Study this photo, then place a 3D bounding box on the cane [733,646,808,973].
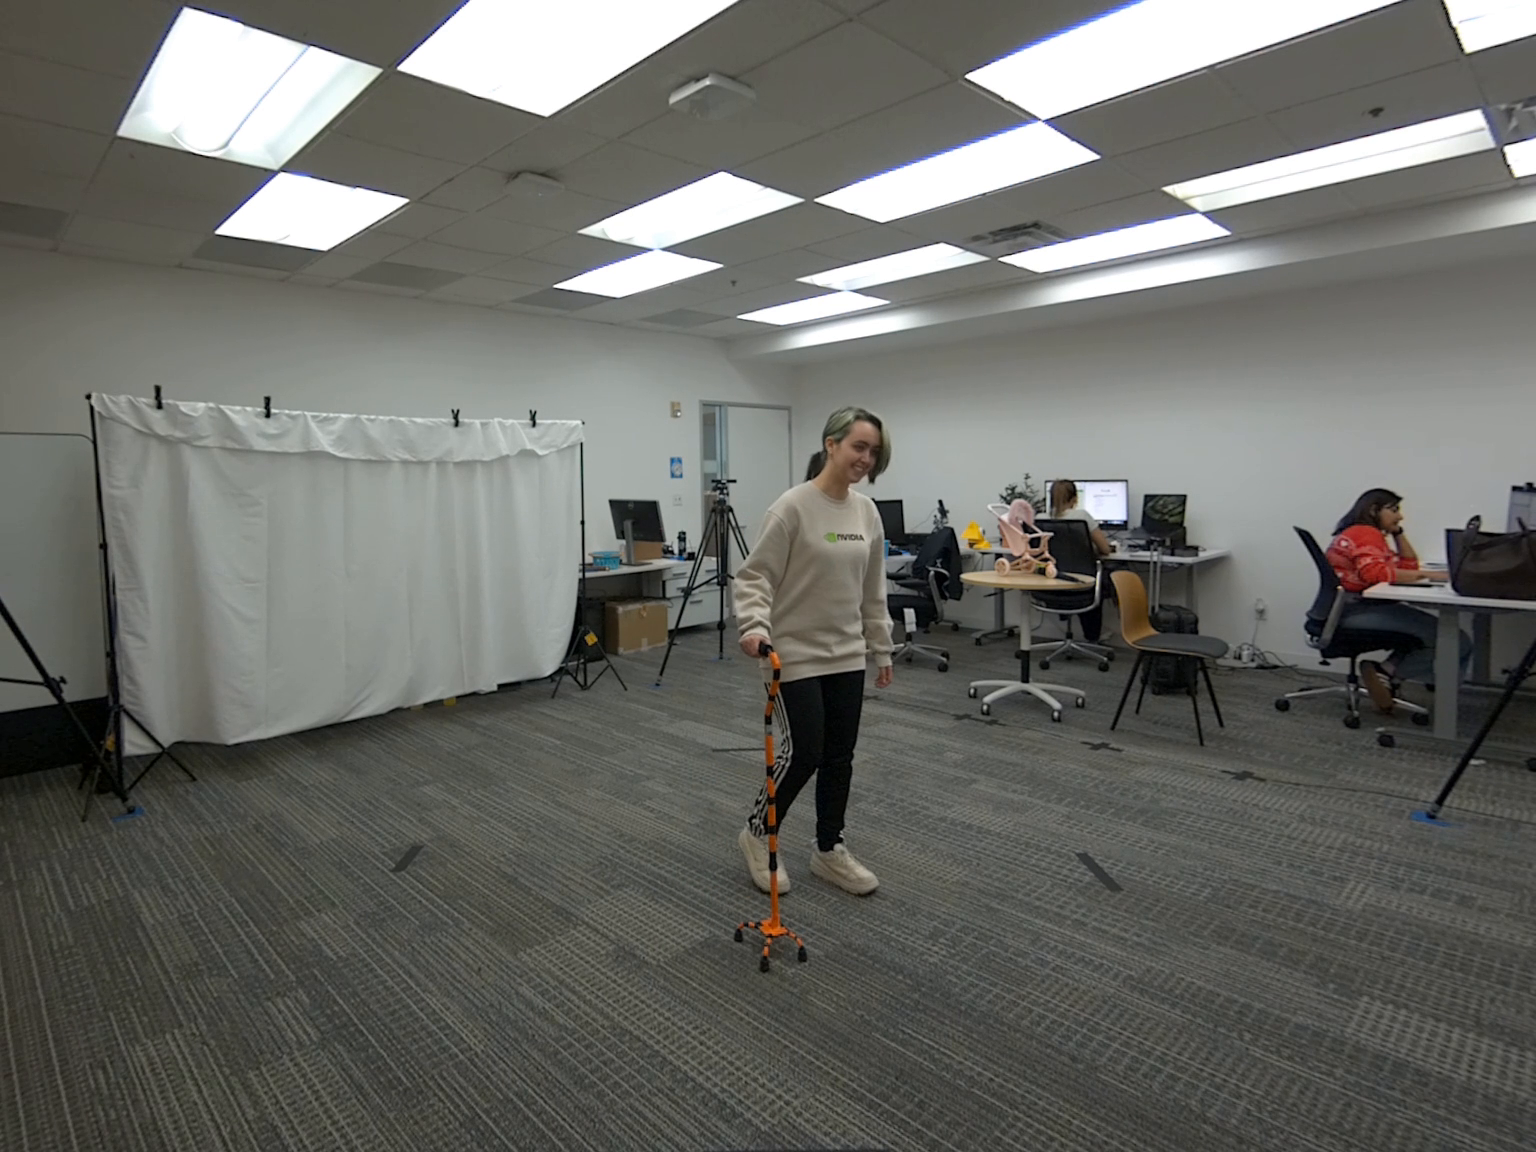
[{"bbox_3d":[-0.006,0.660,2.518,0.148,0.905,0.211,-4,3,-27],"label":"cane"}]
